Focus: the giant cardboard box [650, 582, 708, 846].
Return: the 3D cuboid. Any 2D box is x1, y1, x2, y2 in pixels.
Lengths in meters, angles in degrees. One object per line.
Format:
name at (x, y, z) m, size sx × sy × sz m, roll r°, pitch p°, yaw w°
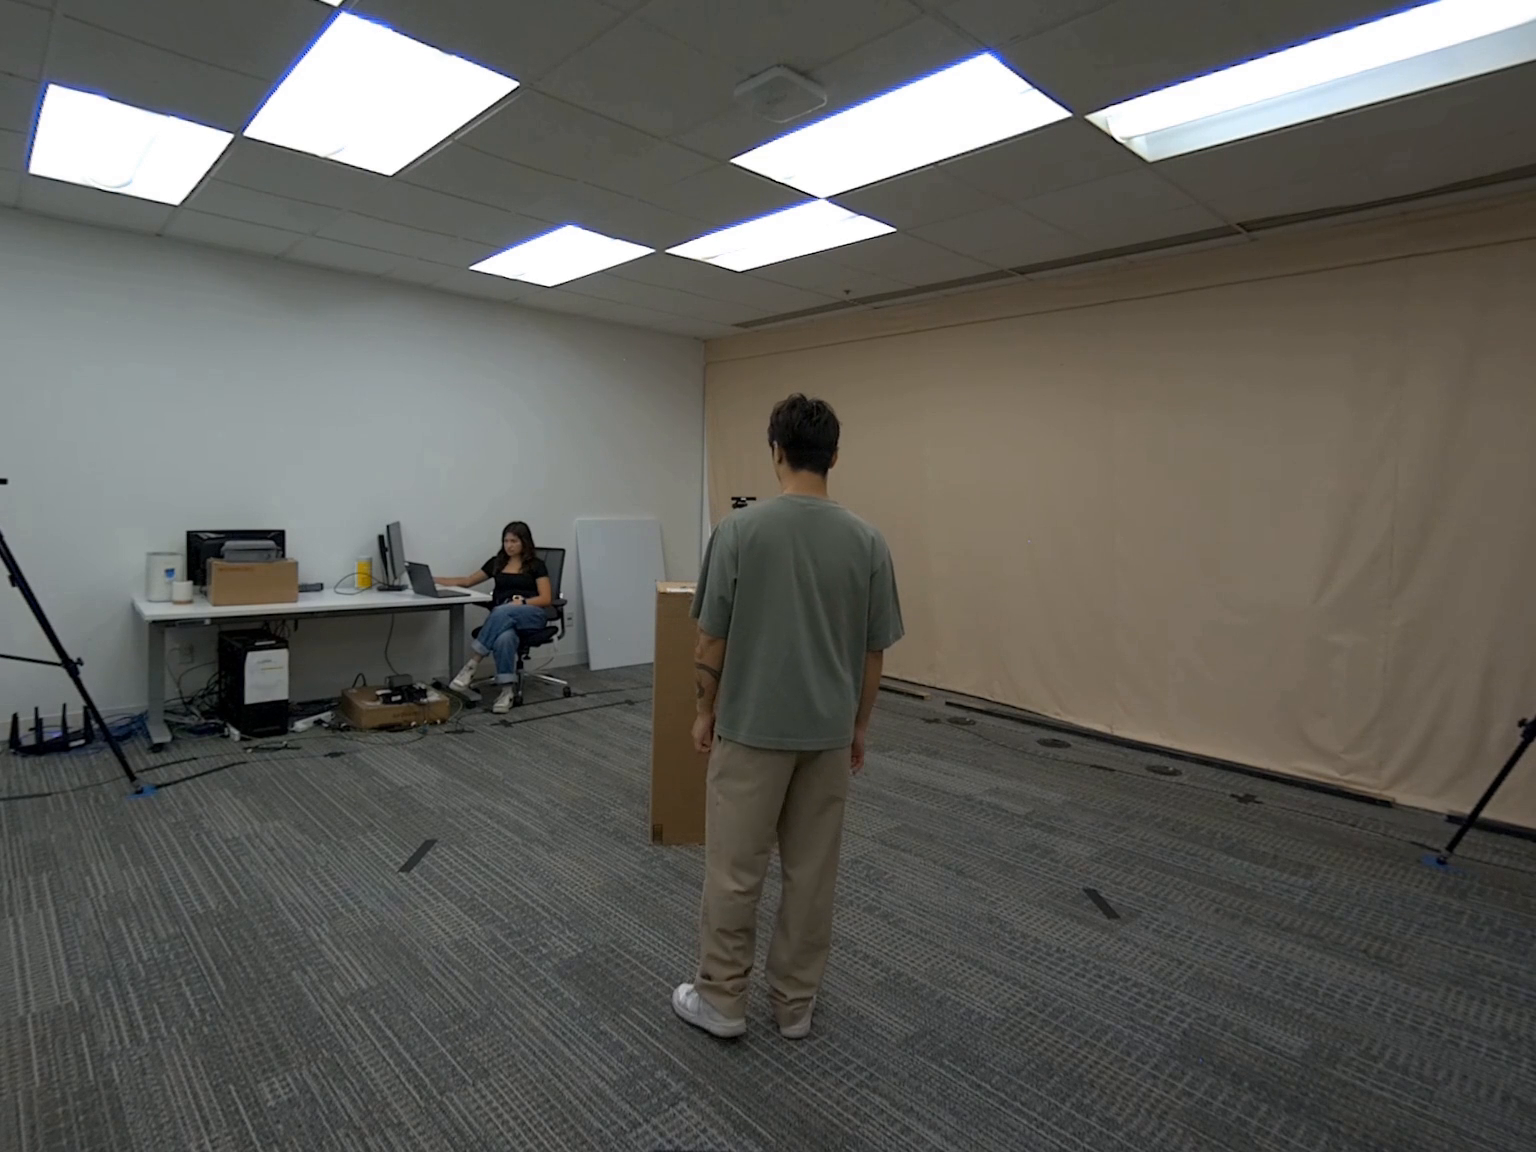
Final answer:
giant cardboard box at (-0.205, 0.558, 3.581) m, size 0.575 × 1.024 × 0.429 m, roll 1°, pitch 2°, yaw -6°
